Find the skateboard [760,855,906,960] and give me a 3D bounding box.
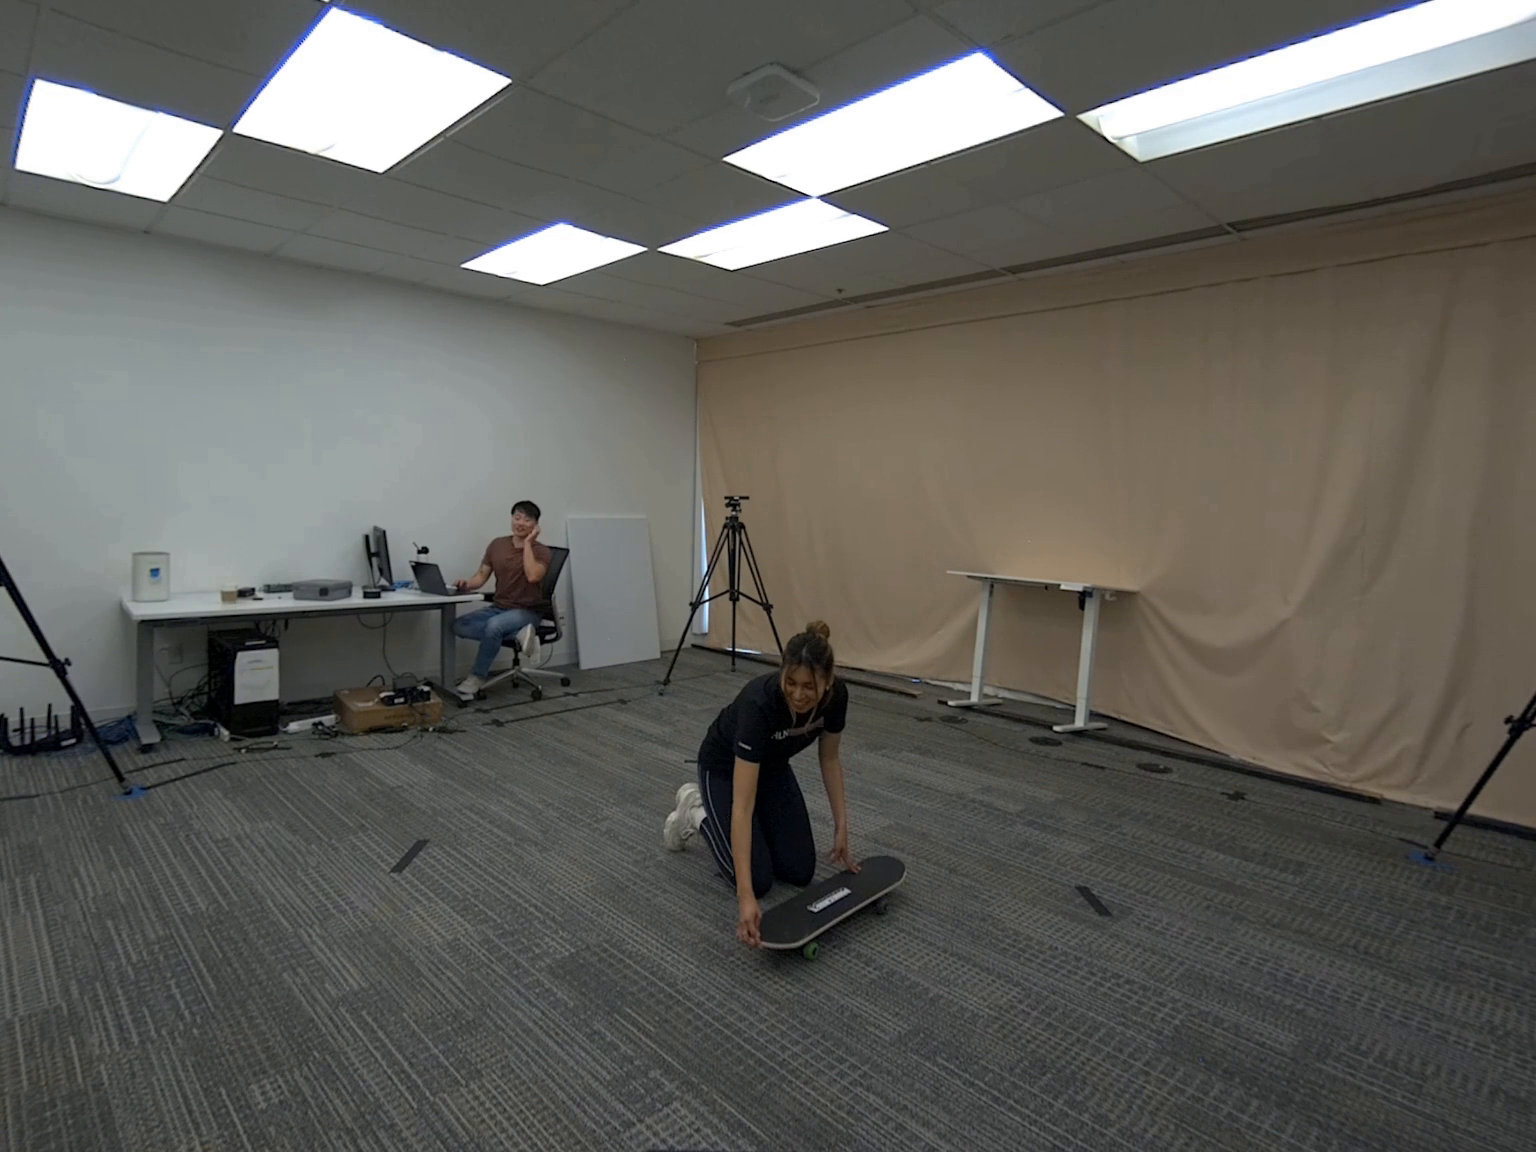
[{"bbox_3d":[0.188,1.078,2.749,0.198,0.110,0.768,4,6,41],"label":"skateboard"}]
